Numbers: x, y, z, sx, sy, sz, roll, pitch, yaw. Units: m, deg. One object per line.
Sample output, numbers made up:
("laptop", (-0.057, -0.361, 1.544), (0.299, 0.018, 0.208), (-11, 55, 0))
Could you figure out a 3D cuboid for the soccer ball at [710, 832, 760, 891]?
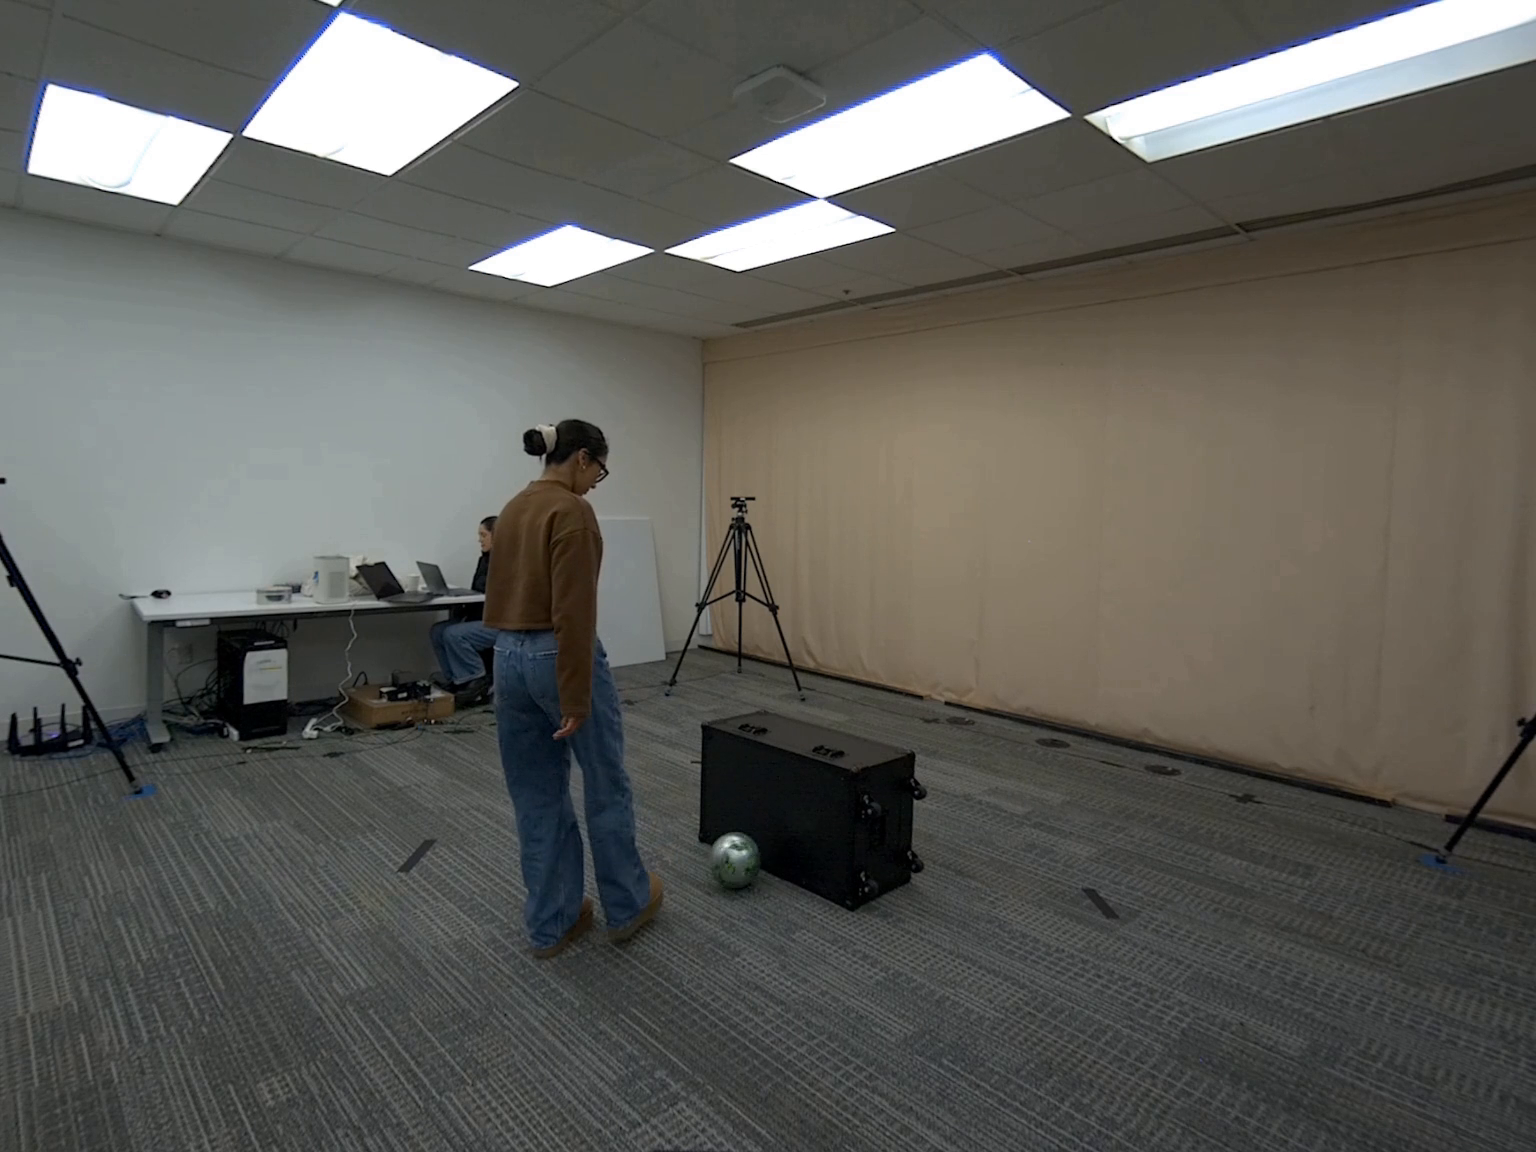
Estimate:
("soccer ball", (-0.142, 1.012, 3.014), (0.187, 0.187, 0.188), (1, 4, -1))
